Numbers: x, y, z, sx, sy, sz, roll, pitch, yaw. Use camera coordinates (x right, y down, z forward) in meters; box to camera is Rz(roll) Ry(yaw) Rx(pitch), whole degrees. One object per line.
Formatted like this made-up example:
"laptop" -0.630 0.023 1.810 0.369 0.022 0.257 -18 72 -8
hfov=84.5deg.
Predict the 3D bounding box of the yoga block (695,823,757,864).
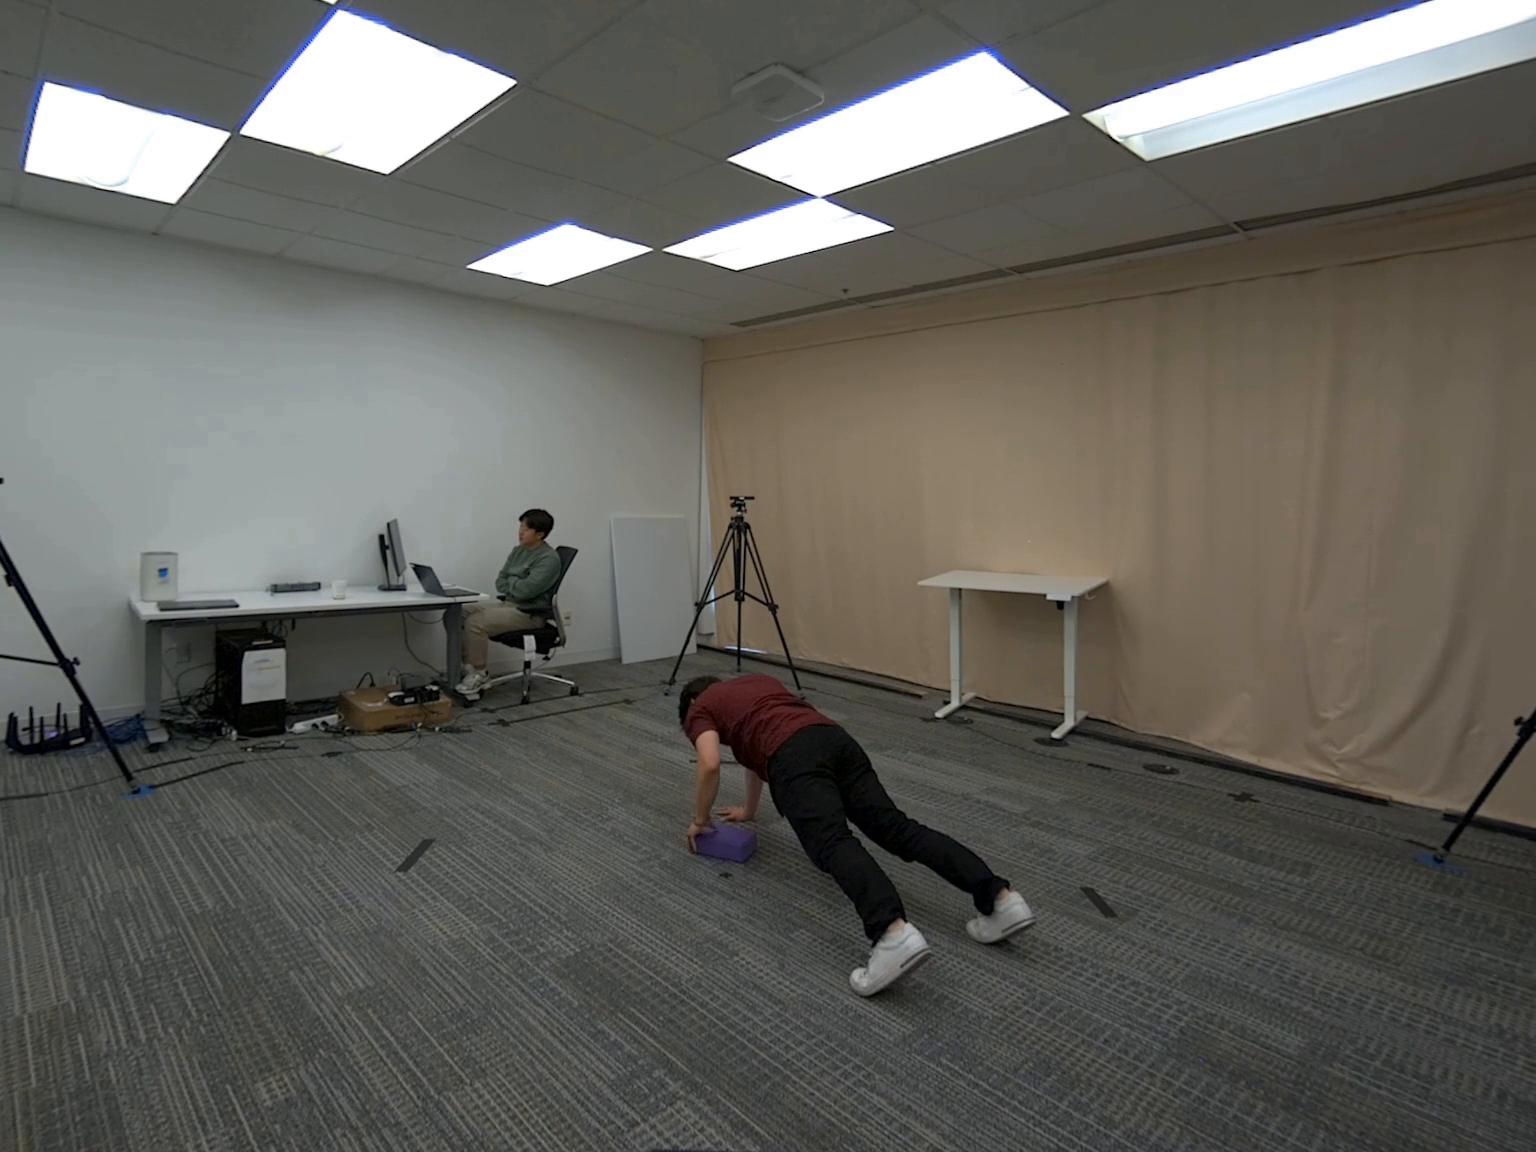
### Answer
"yoga block" -0.180 1.039 3.307 0.233 0.076 0.147 3 9 23
